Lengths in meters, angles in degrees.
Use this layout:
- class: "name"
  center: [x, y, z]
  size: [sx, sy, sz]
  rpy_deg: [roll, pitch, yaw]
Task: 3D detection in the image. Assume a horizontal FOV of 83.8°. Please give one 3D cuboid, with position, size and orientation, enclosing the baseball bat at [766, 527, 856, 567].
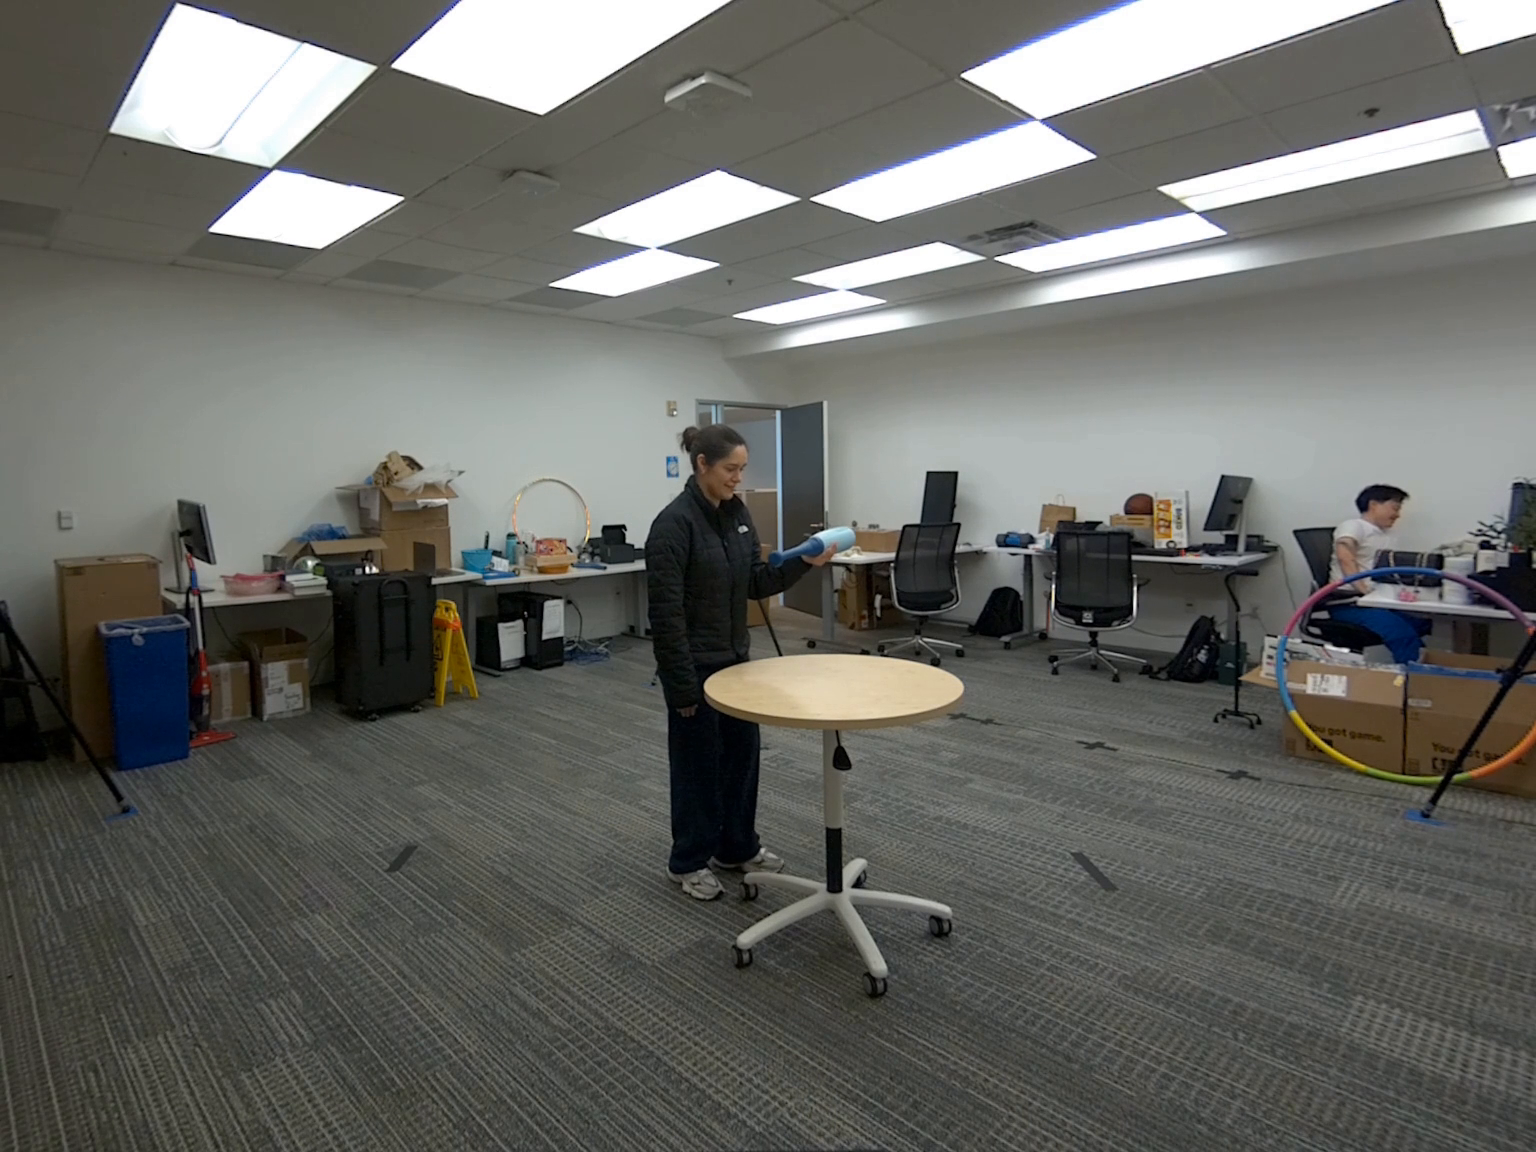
- class: "baseball bat"
  center: [0.152, -0.098, 2.852]
  size: [0.091, 0.088, 0.532]
  rpy_deg: [2, 9, 31]
